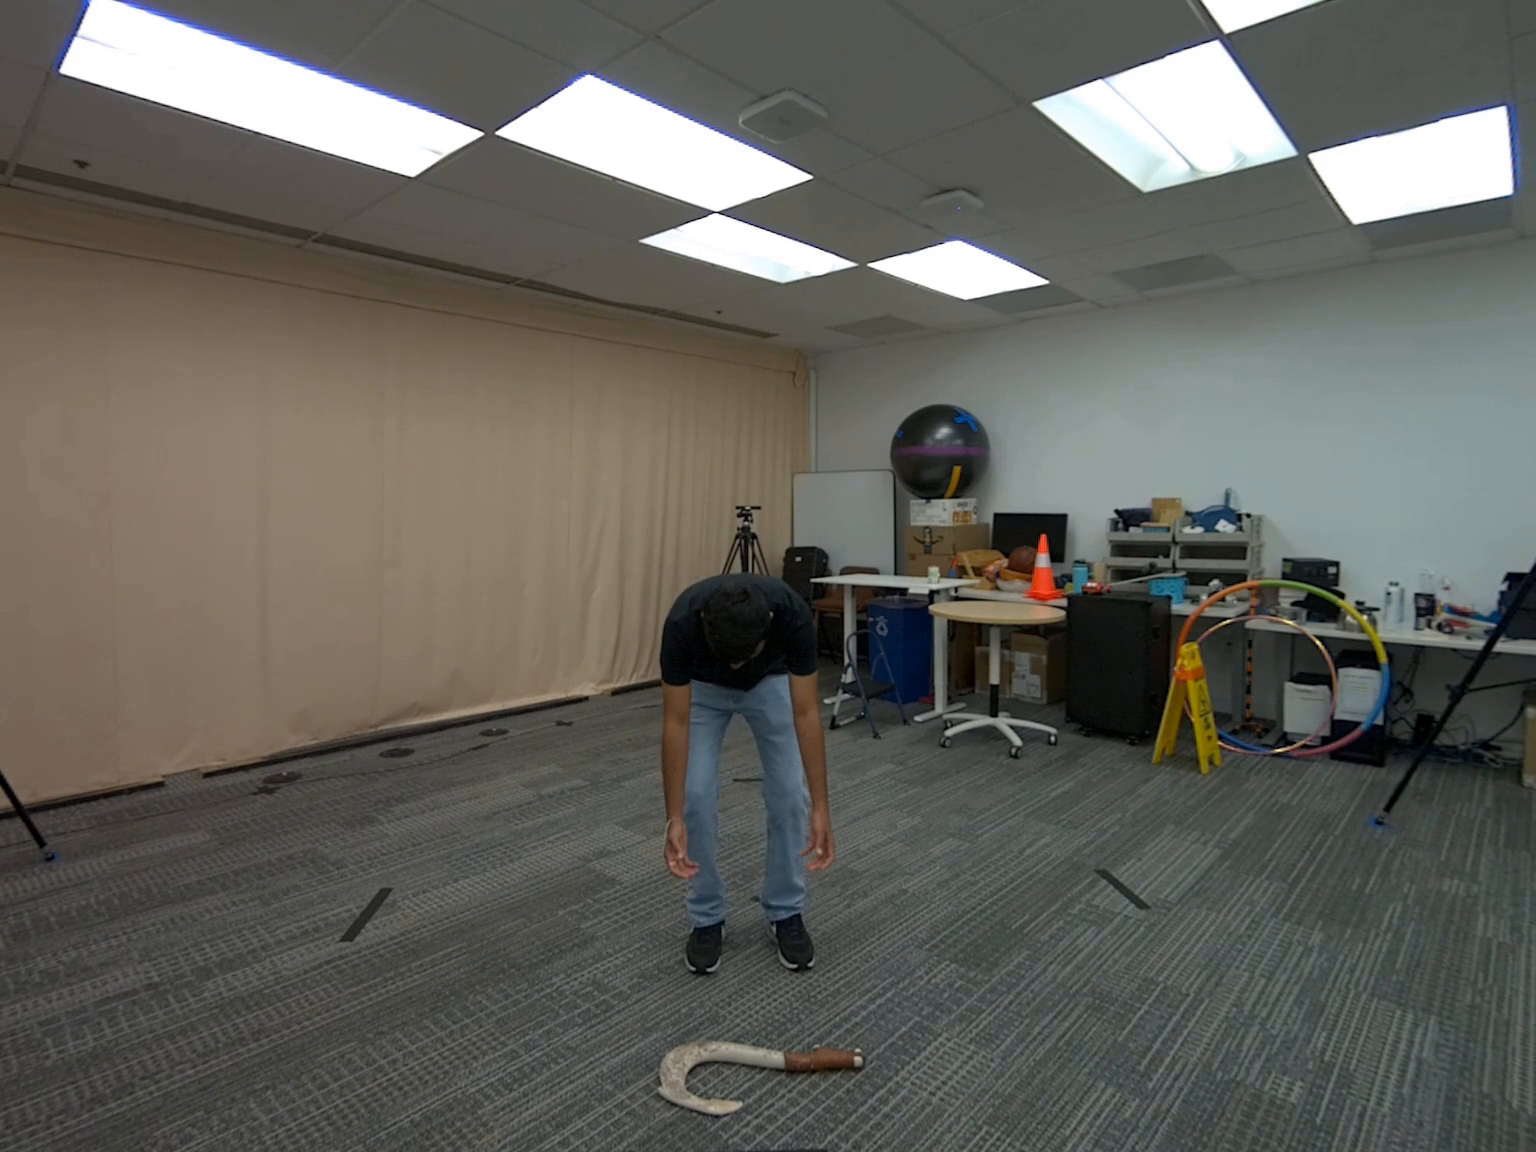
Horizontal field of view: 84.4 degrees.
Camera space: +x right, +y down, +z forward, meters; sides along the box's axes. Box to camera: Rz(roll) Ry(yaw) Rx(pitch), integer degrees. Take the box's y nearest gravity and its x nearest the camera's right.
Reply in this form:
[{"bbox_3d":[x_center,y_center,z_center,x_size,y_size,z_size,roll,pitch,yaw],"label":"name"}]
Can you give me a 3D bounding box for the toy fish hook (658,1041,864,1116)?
[{"bbox_3d":[0.000,1.207,2.034,0.506,0.048,0.226,-1,12,-2],"label":"toy fish hook"}]
